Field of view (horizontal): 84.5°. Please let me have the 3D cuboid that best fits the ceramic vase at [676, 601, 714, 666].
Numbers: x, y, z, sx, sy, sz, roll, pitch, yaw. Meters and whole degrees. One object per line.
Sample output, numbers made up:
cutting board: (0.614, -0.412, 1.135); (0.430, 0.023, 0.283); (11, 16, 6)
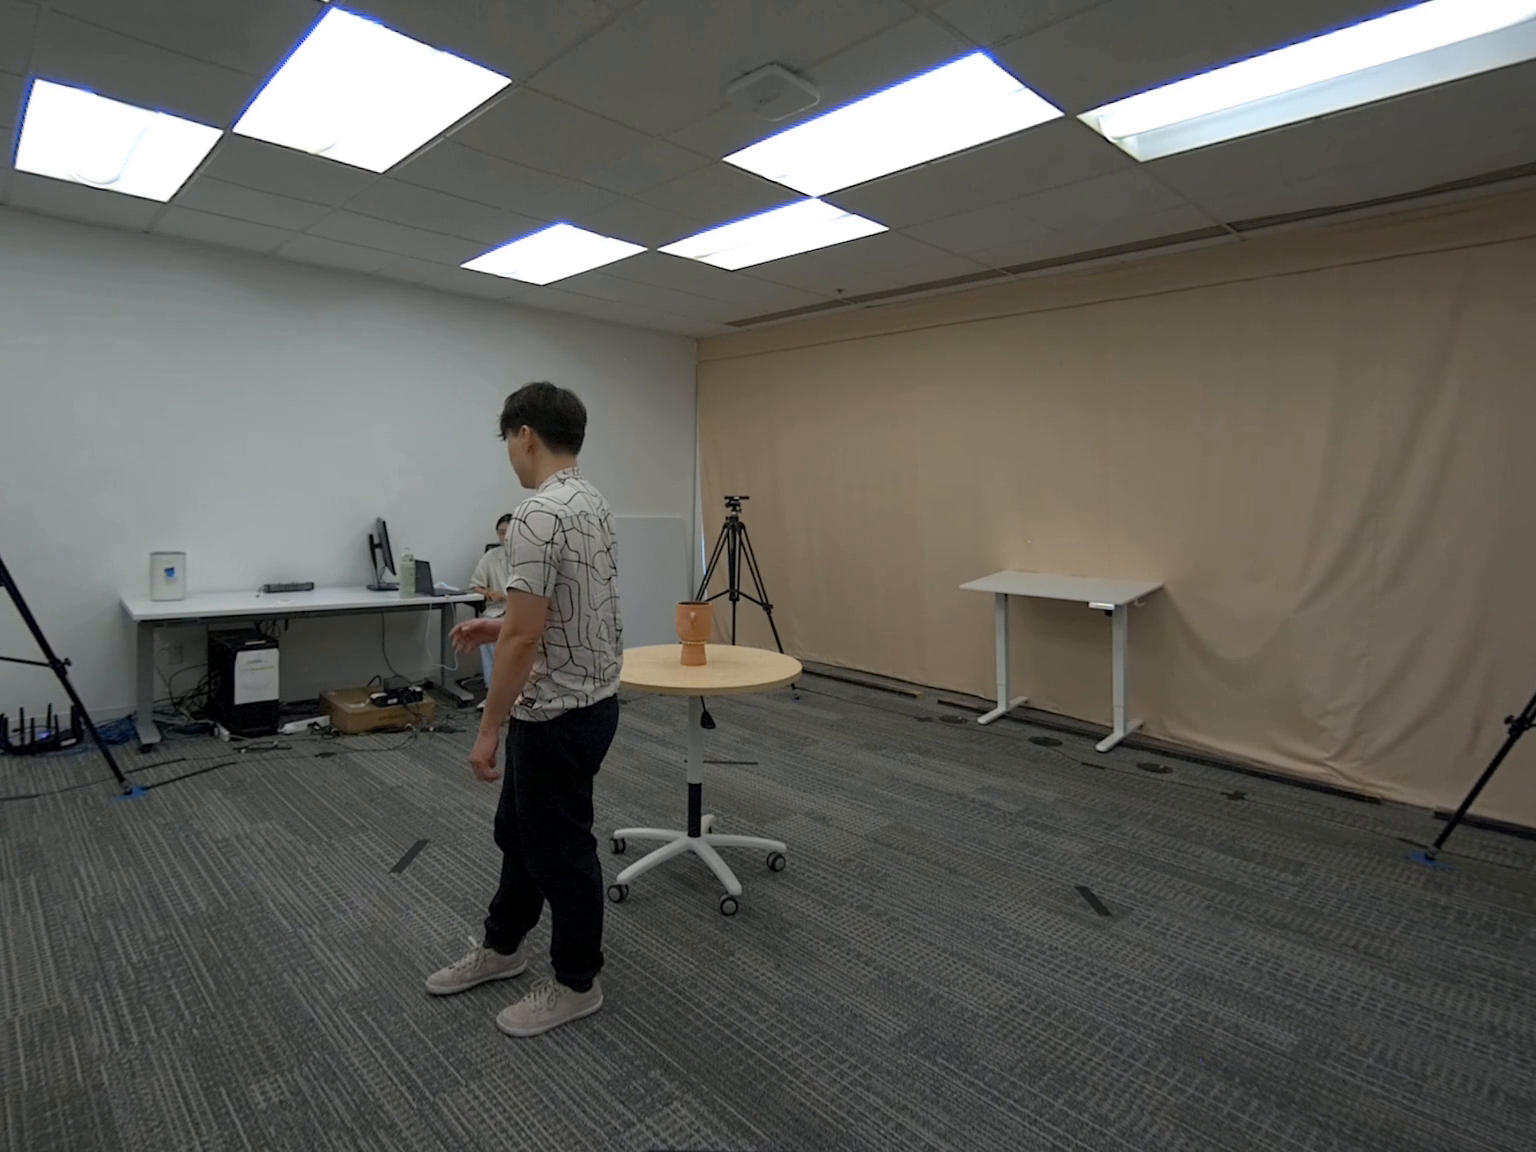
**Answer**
ceramic vase: (-0.277, 0.211, 3.069); (0.138, 0.219, 0.155); (5, 5, 38)
